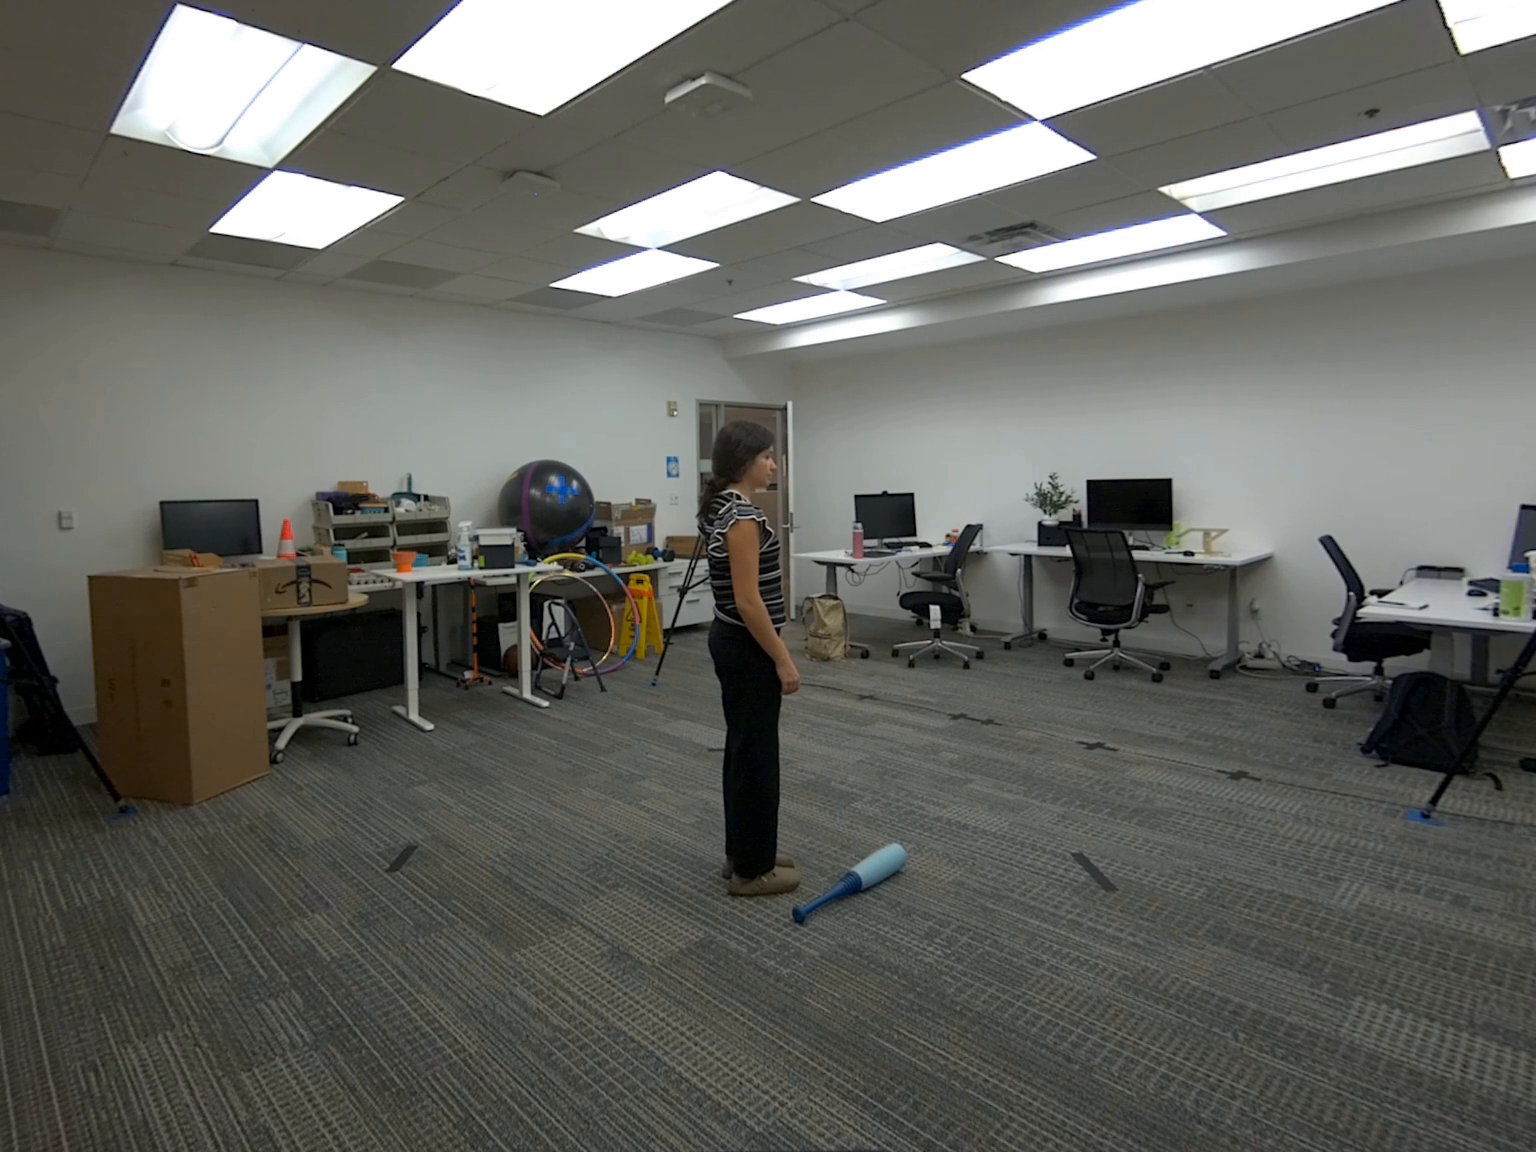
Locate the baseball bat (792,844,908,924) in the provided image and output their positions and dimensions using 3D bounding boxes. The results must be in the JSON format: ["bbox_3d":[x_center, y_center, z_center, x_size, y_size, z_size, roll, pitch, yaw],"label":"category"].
[{"bbox_3d":[0.278,1.032,2.855,0.530,0.088,0.092,-12,11,-43],"label":"baseball bat"}]
